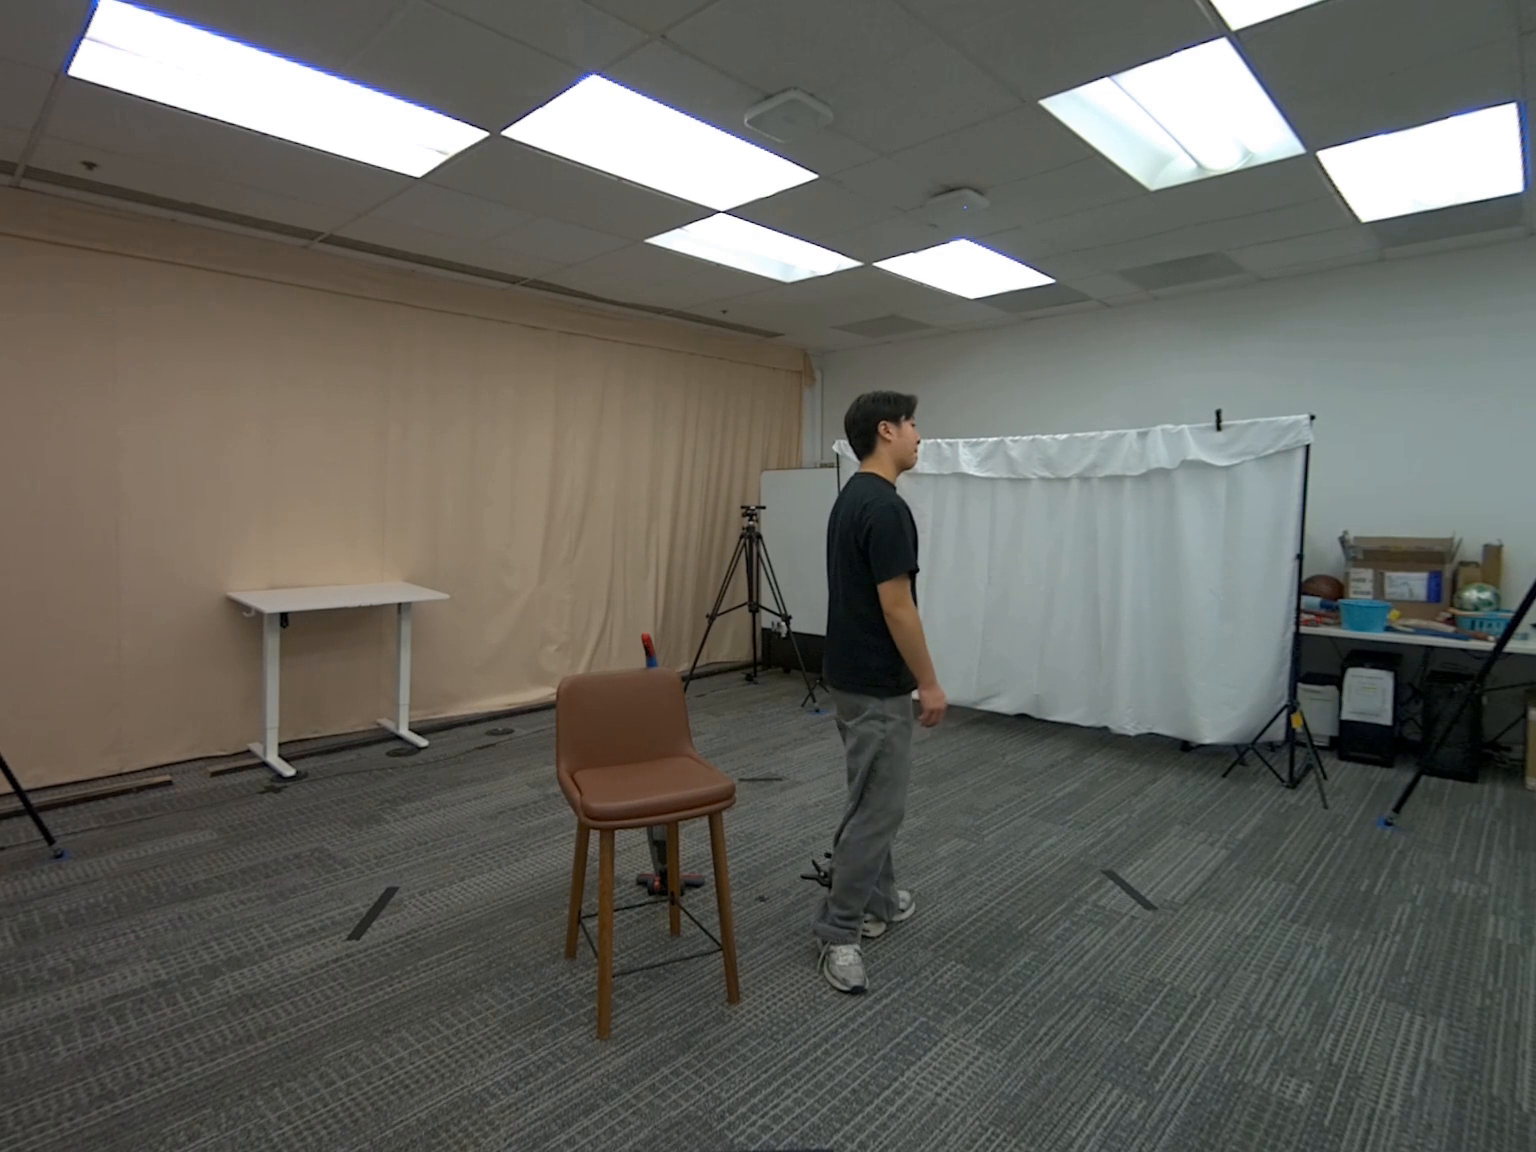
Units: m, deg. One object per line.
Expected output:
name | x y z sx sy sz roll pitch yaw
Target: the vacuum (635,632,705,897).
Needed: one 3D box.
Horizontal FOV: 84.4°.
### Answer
vacuum | -0.380 0.663 2.869 0.253 1.034 0.146 -2 23 1
